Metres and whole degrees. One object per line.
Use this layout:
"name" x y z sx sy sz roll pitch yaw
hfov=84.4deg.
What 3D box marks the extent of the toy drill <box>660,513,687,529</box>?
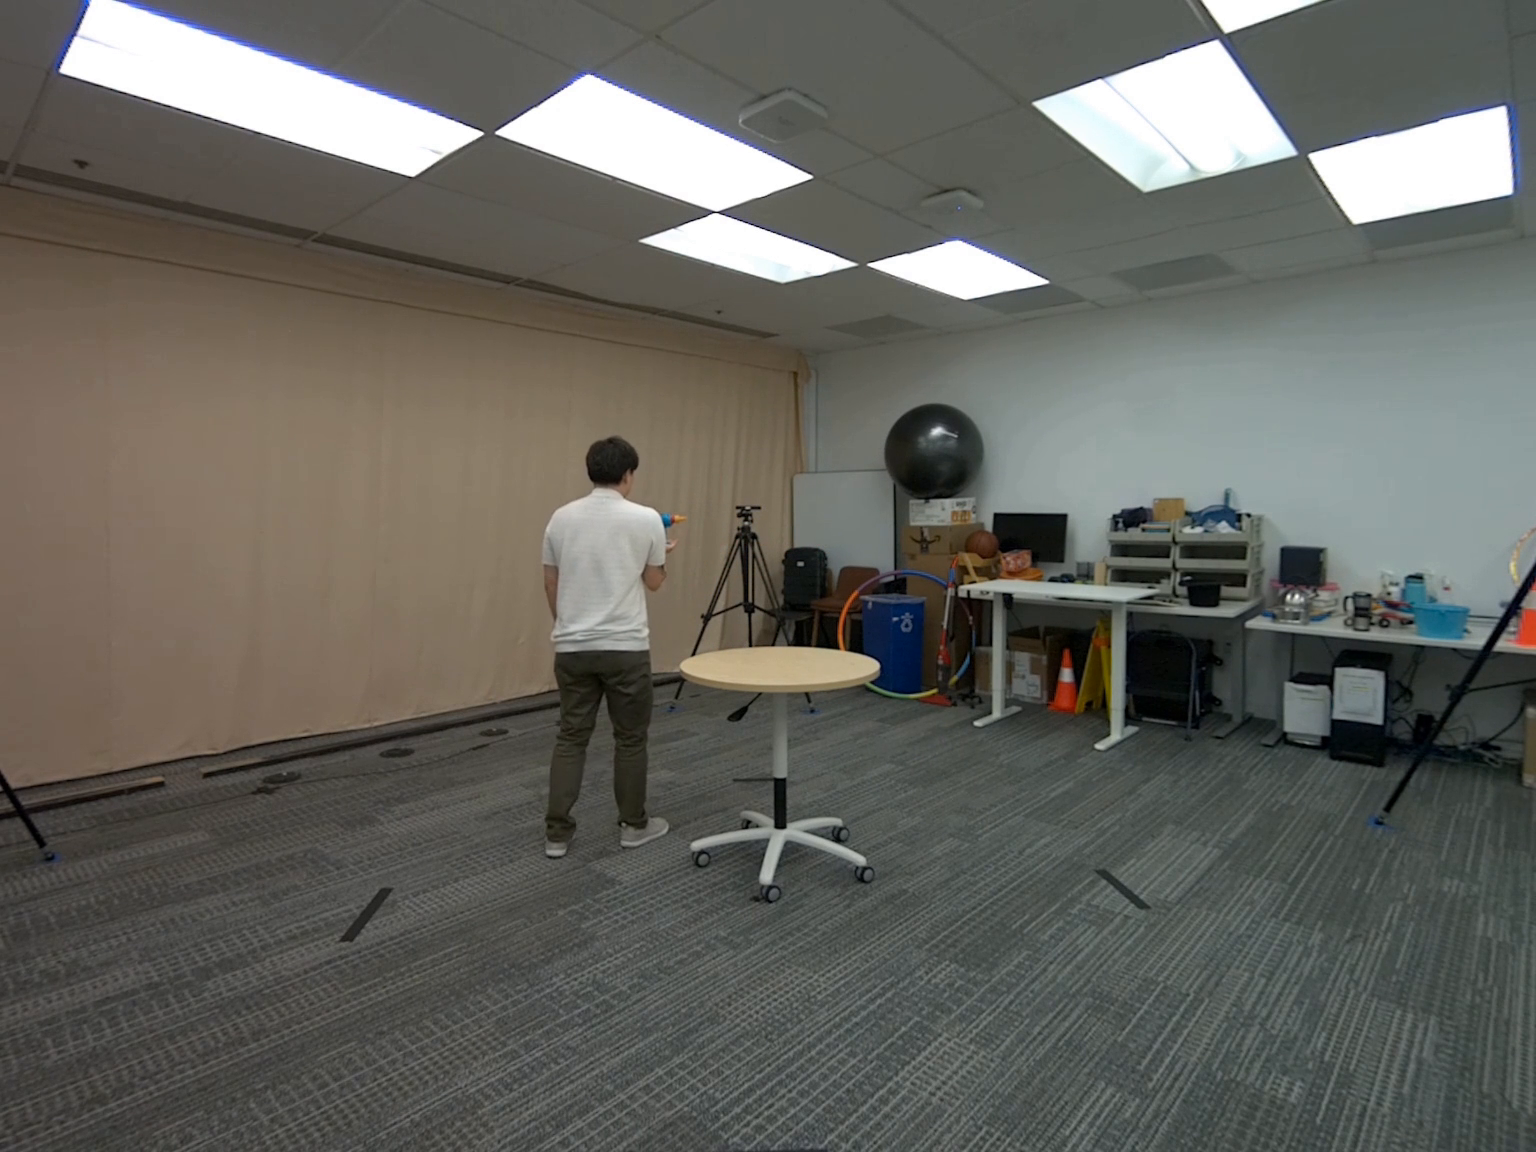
"toy drill" -0.433 -0.211 3.783 0.170 0.146 0.061 -4 1 0
